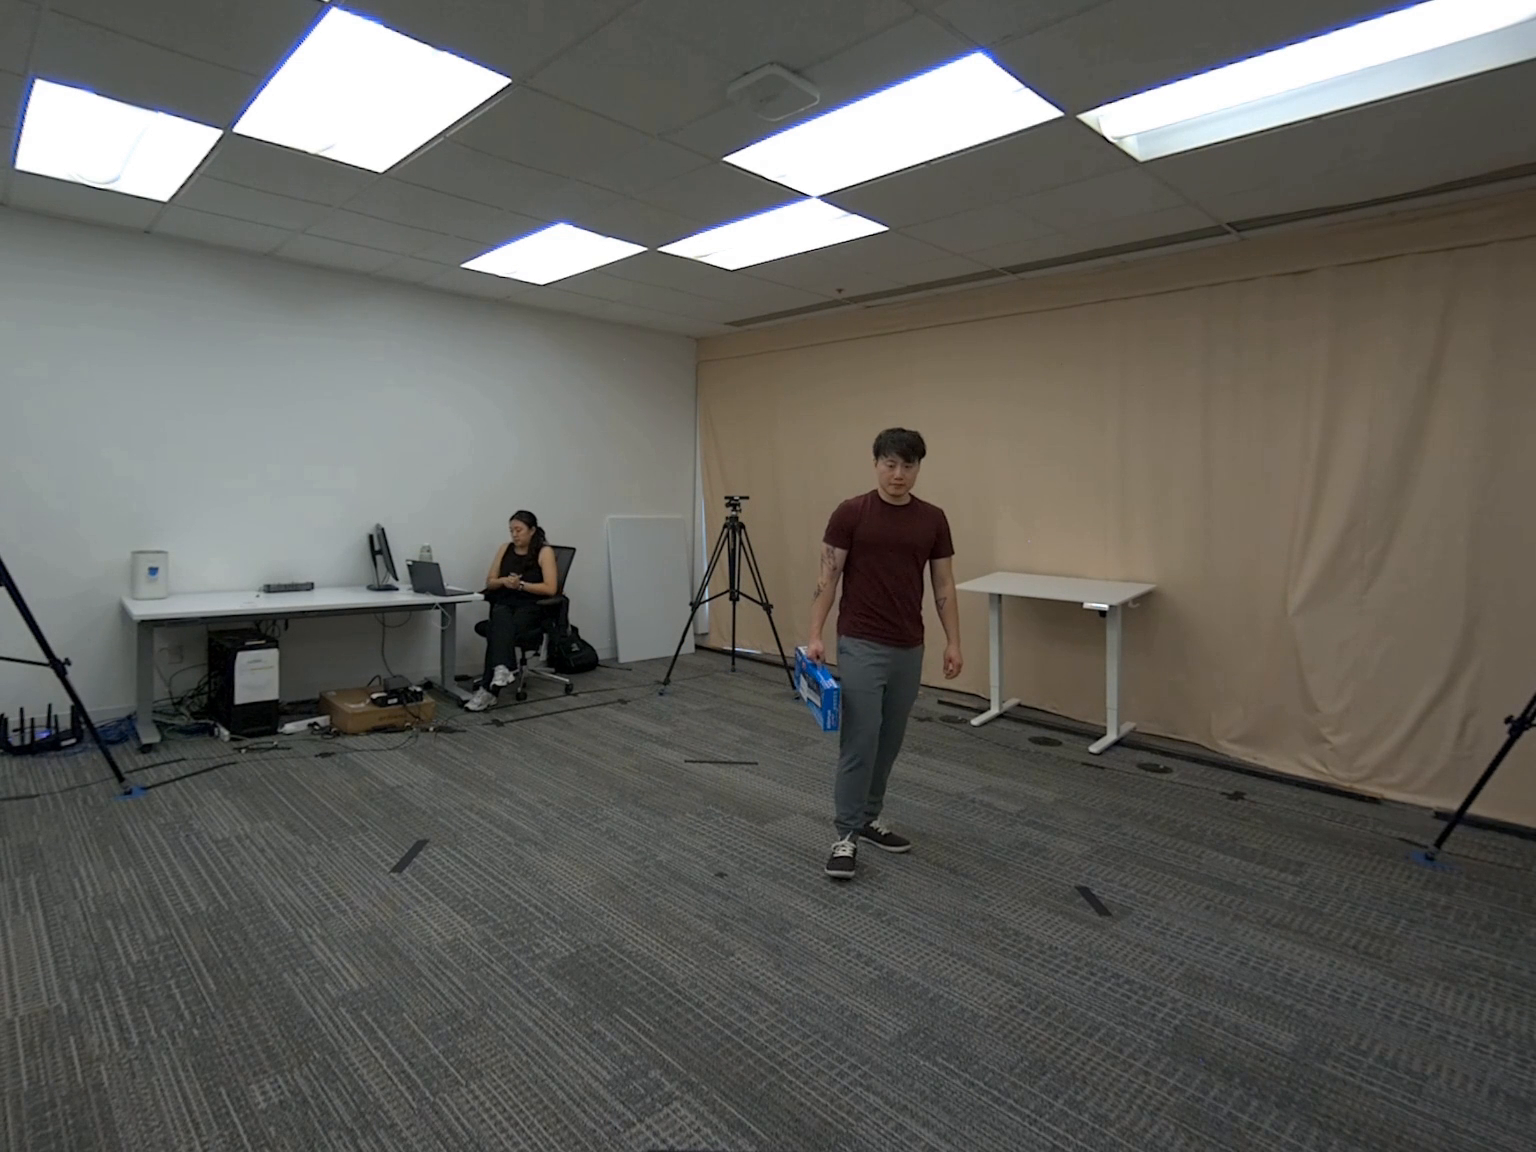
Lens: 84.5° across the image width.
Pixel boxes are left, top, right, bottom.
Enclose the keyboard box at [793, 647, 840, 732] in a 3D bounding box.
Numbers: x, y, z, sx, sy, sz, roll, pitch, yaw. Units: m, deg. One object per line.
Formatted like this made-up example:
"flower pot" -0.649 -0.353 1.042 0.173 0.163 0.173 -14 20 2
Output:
"keyboard box" 0.178 0.428 3.298 0.058 0.174 0.445 -3 15 -13
